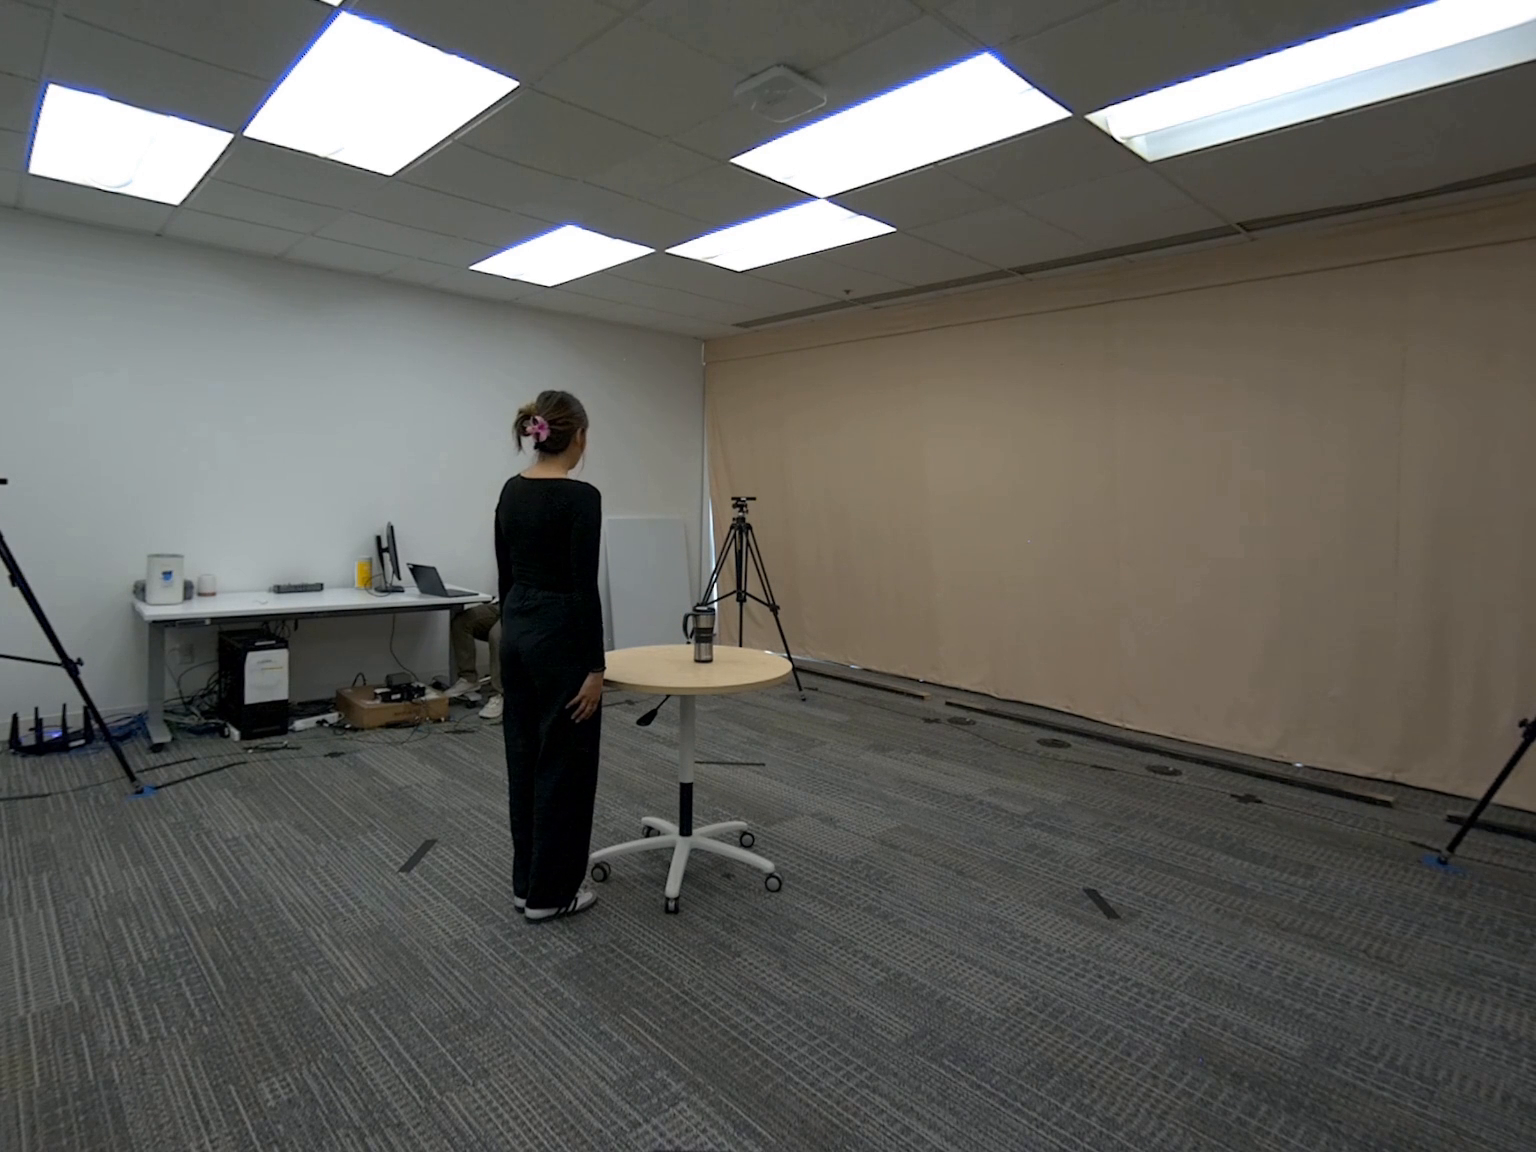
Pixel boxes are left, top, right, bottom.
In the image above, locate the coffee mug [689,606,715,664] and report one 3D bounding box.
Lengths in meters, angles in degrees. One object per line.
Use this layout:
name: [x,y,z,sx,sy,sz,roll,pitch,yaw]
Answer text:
coffee mug: [-0.265,0.220,3.130,0.123,0.202,0.087,4,7,16]
